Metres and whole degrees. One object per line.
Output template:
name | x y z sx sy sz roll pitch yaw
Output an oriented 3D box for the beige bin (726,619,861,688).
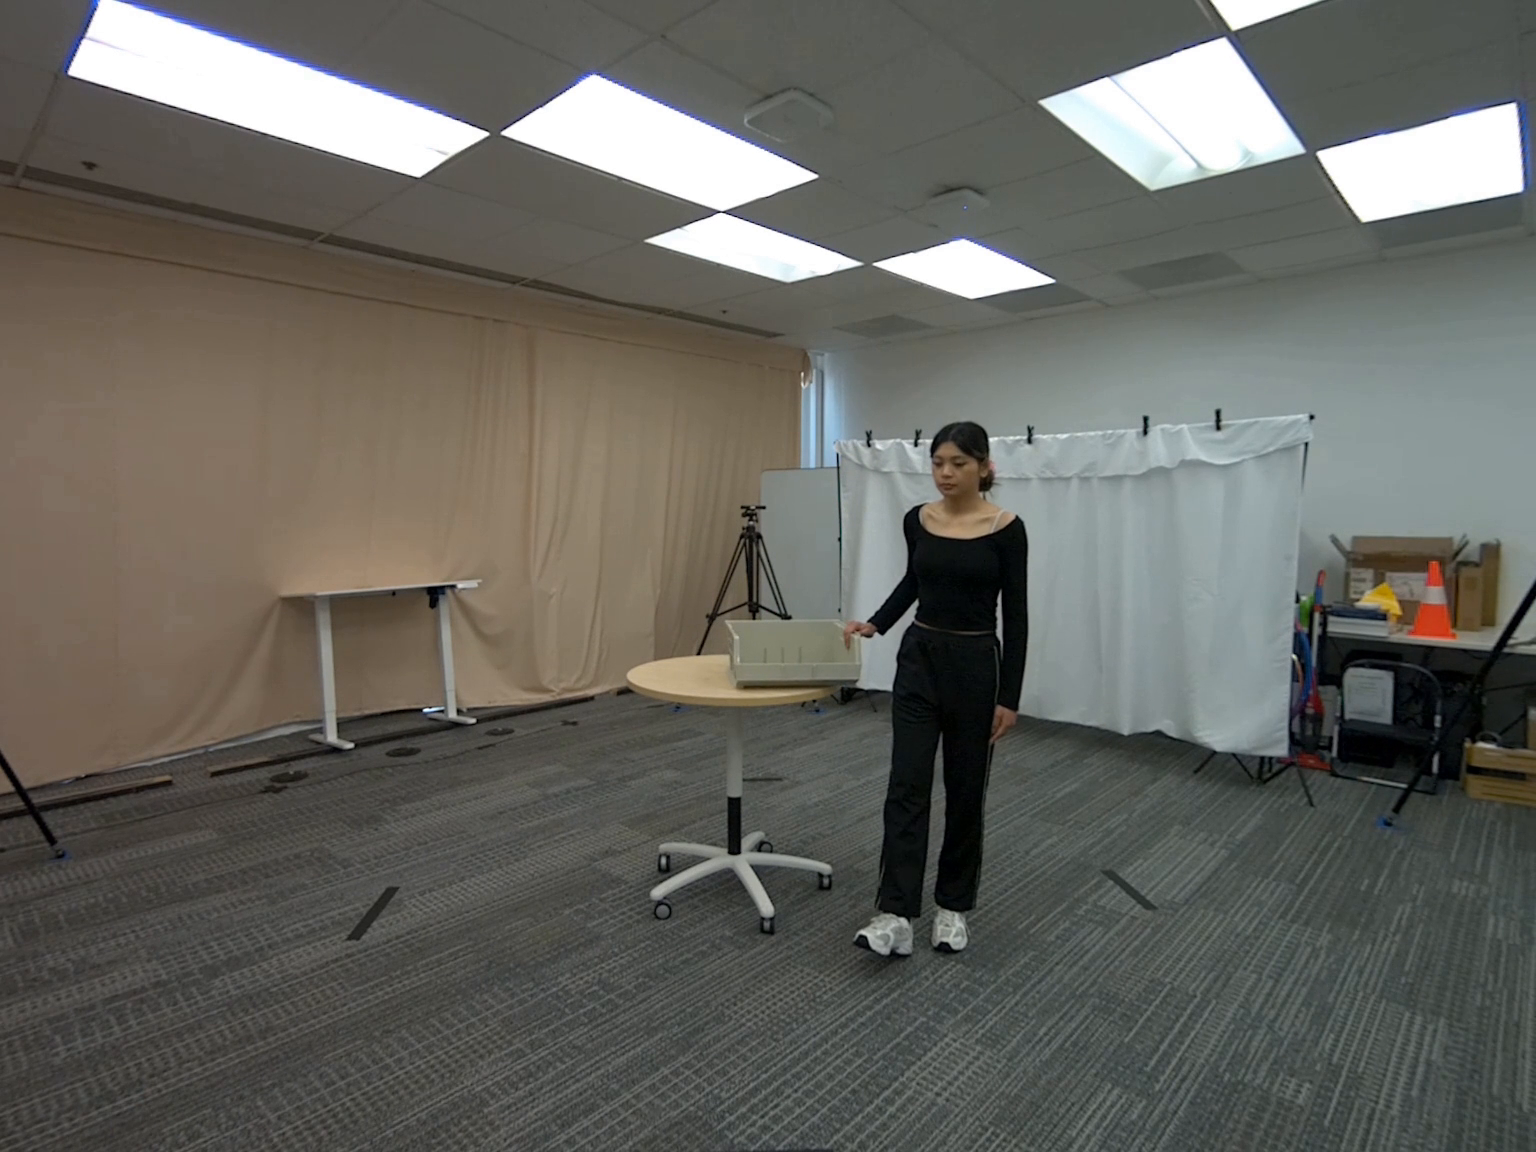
beige bin | 0.079 0.265 2.904 0.420 0.189 0.380 0 3 -5
